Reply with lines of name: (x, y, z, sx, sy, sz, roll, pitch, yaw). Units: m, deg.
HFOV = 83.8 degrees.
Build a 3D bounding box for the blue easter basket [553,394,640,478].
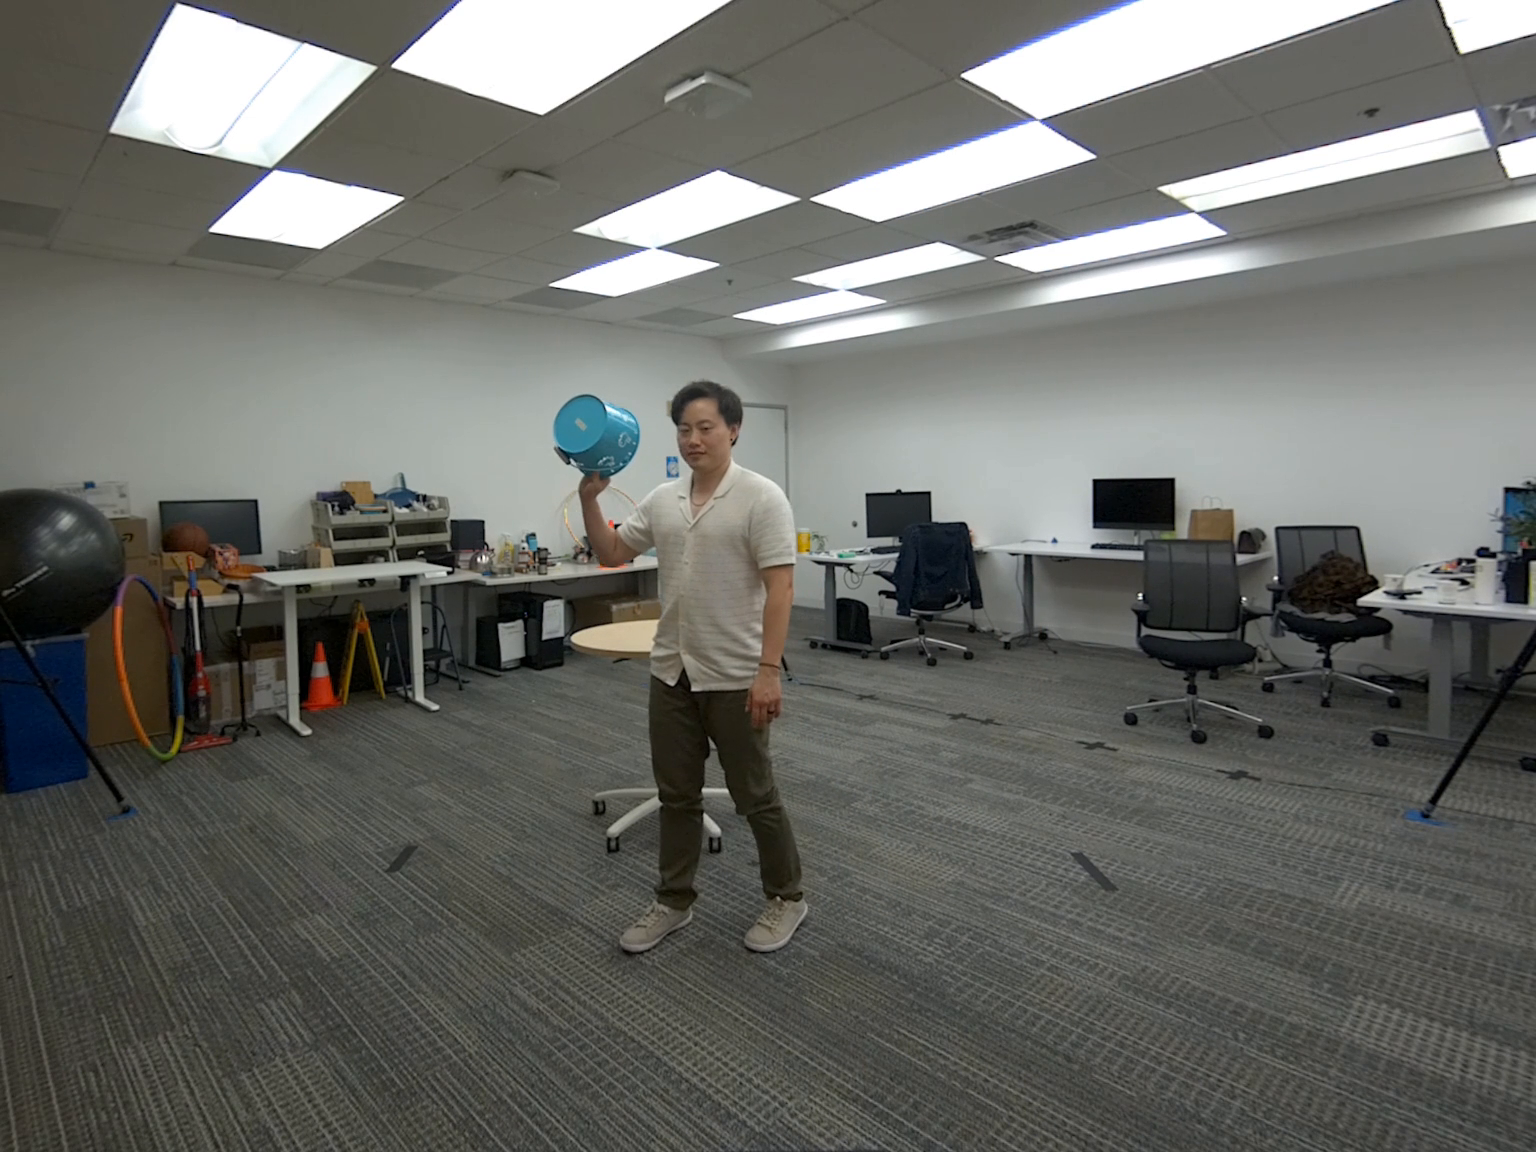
blue easter basket: (-0.506, -0.419, 2.519, 0.249, 0.246, 0.151, 1, -14, 23)
